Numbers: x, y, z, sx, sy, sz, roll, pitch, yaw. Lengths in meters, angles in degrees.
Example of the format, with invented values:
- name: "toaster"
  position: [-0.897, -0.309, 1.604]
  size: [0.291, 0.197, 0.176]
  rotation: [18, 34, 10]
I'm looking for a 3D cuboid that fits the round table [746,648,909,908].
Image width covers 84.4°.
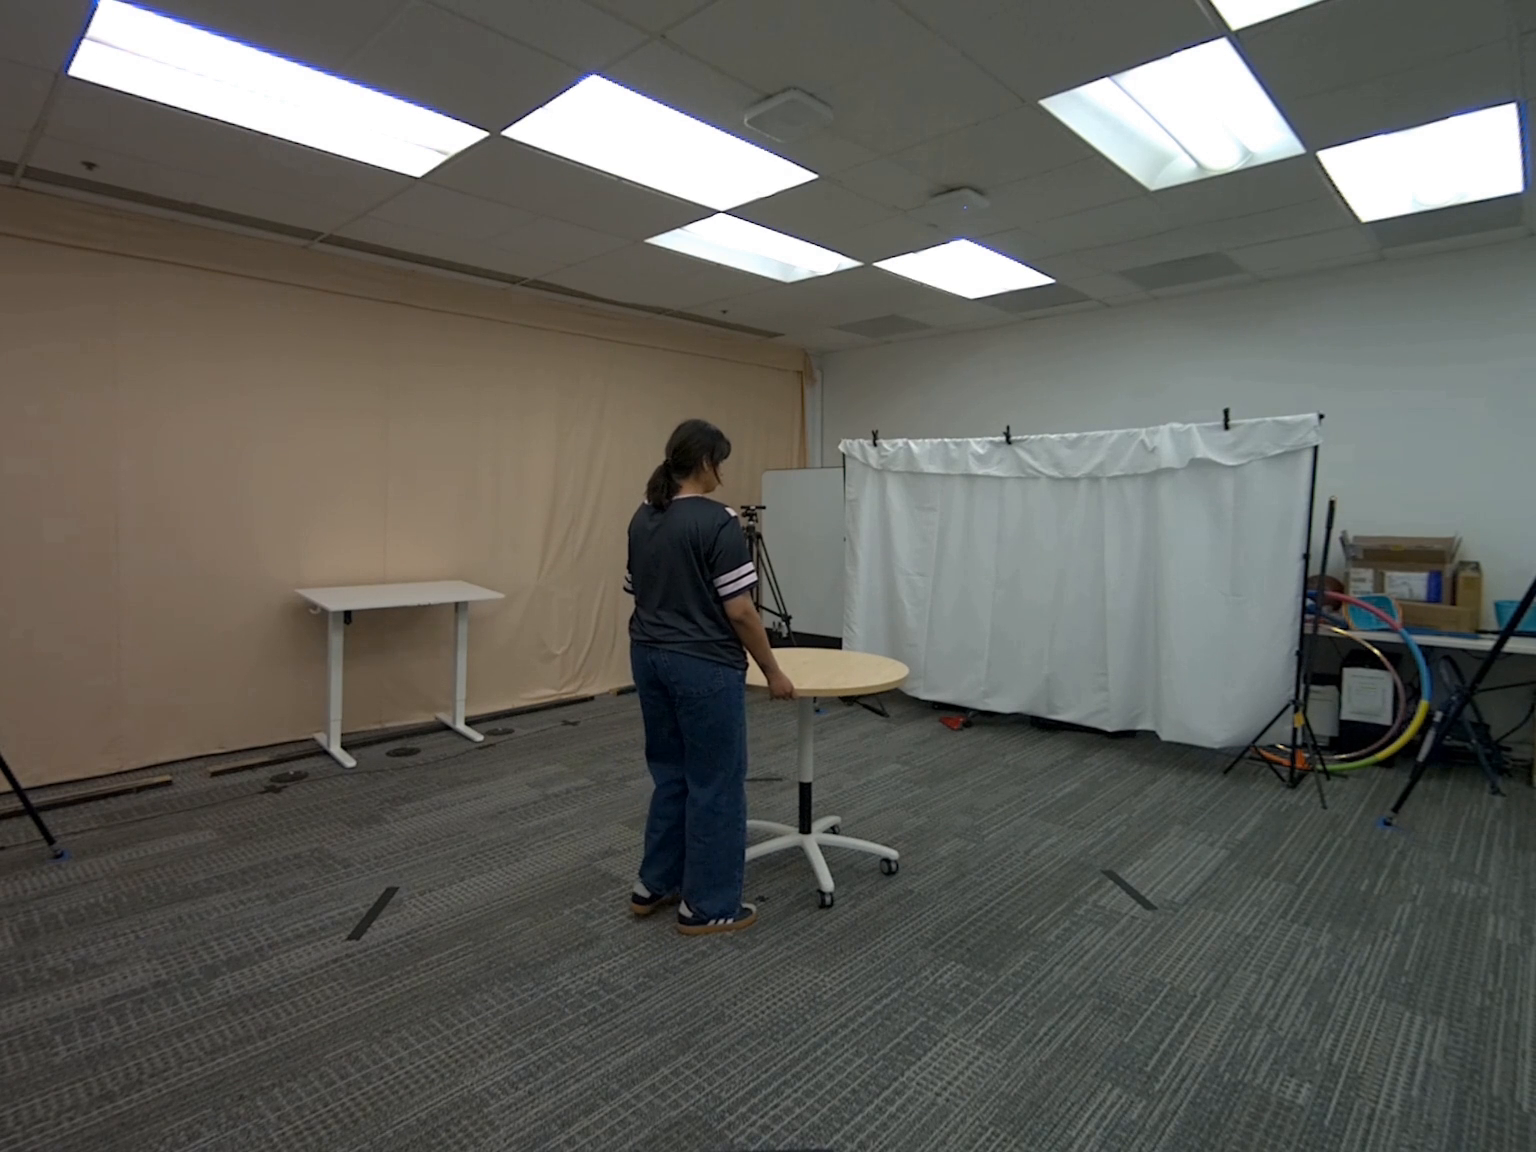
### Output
- name: "round table"
  position: [0.133, 0.728, 3.213]
  size: [0.784, 0.785, 0.788]
  rotation: [1, 4, -2]
